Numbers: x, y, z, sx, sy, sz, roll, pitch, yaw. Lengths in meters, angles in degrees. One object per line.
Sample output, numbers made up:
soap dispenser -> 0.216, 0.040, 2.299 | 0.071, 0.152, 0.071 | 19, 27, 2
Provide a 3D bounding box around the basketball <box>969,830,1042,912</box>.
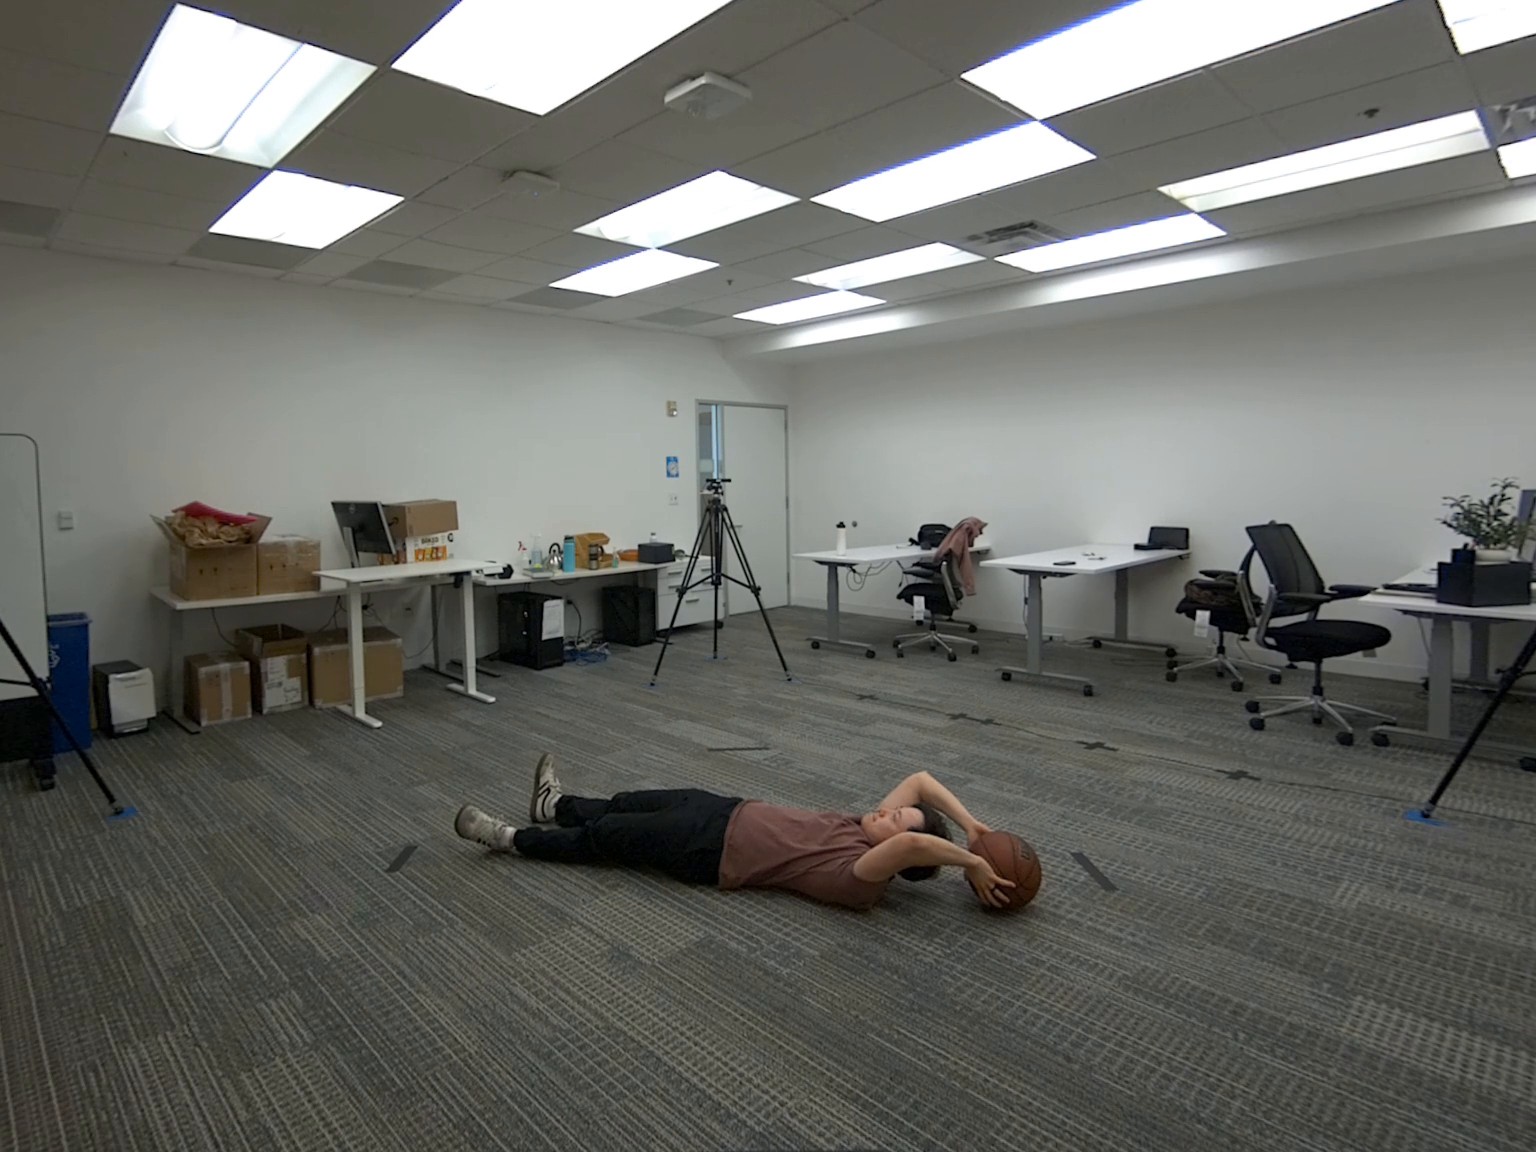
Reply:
basketball -> 0.760, 0.949, 2.763 | 0.236, 0.236, 0.236 | 0, 1, -2
